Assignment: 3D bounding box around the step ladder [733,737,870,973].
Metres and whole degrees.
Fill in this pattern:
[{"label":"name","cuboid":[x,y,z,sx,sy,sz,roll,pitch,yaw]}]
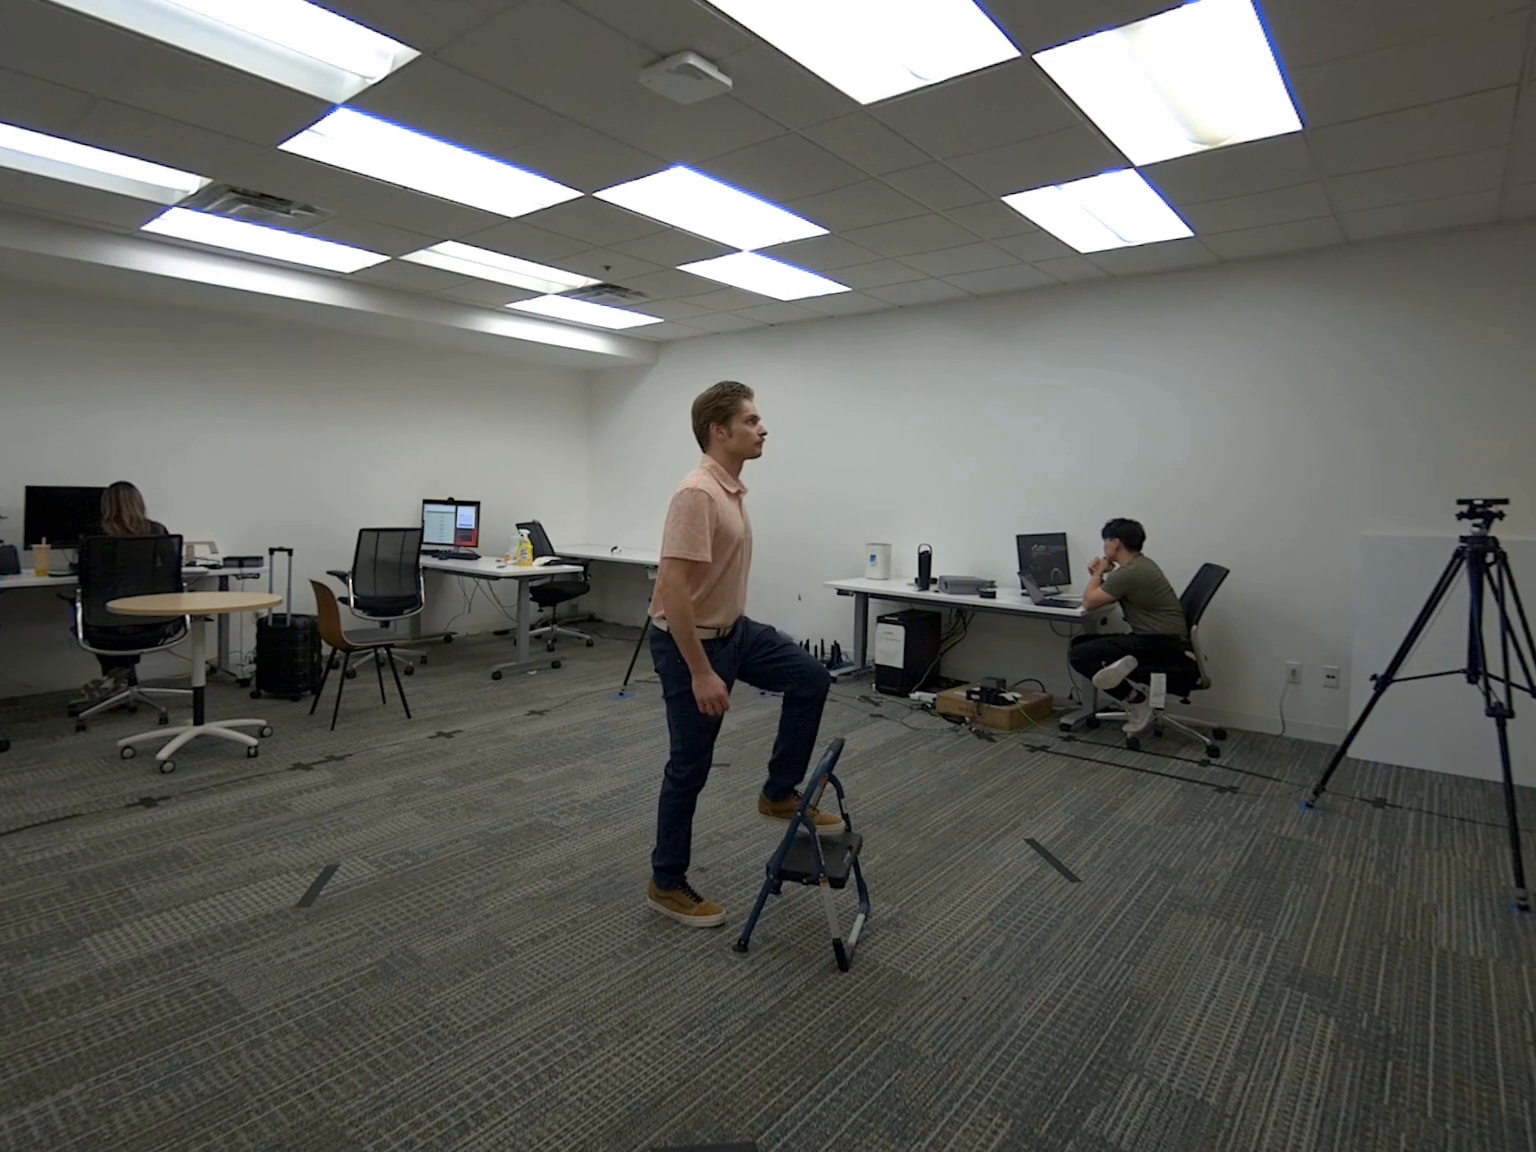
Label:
[{"label":"step ladder","cuboid":[0.121,0.814,2.686,0.356,0.604,0.424,3,4,16]}]
